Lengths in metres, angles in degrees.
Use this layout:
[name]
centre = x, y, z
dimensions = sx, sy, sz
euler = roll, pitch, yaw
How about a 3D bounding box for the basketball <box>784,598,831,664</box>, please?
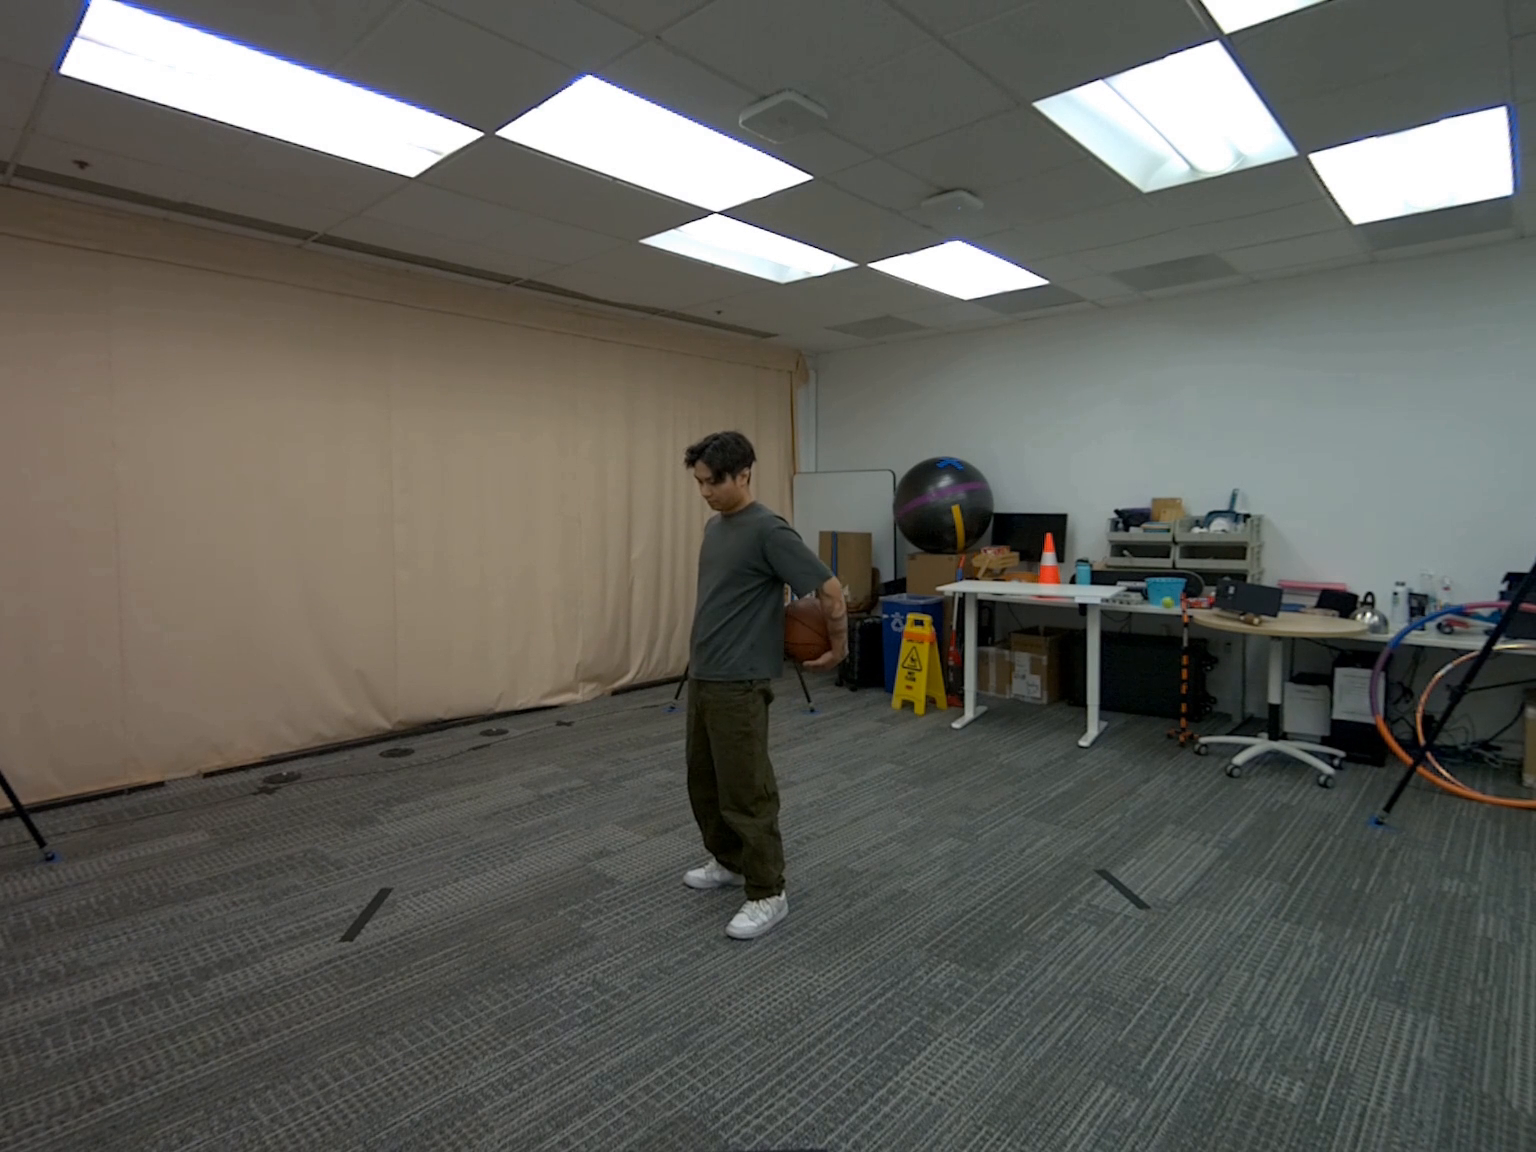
[basketball]
centre = 0.133, 0.189, 2.922
dimensions = 0.236, 0.235, 0.237
euler = 0, 4, -2
